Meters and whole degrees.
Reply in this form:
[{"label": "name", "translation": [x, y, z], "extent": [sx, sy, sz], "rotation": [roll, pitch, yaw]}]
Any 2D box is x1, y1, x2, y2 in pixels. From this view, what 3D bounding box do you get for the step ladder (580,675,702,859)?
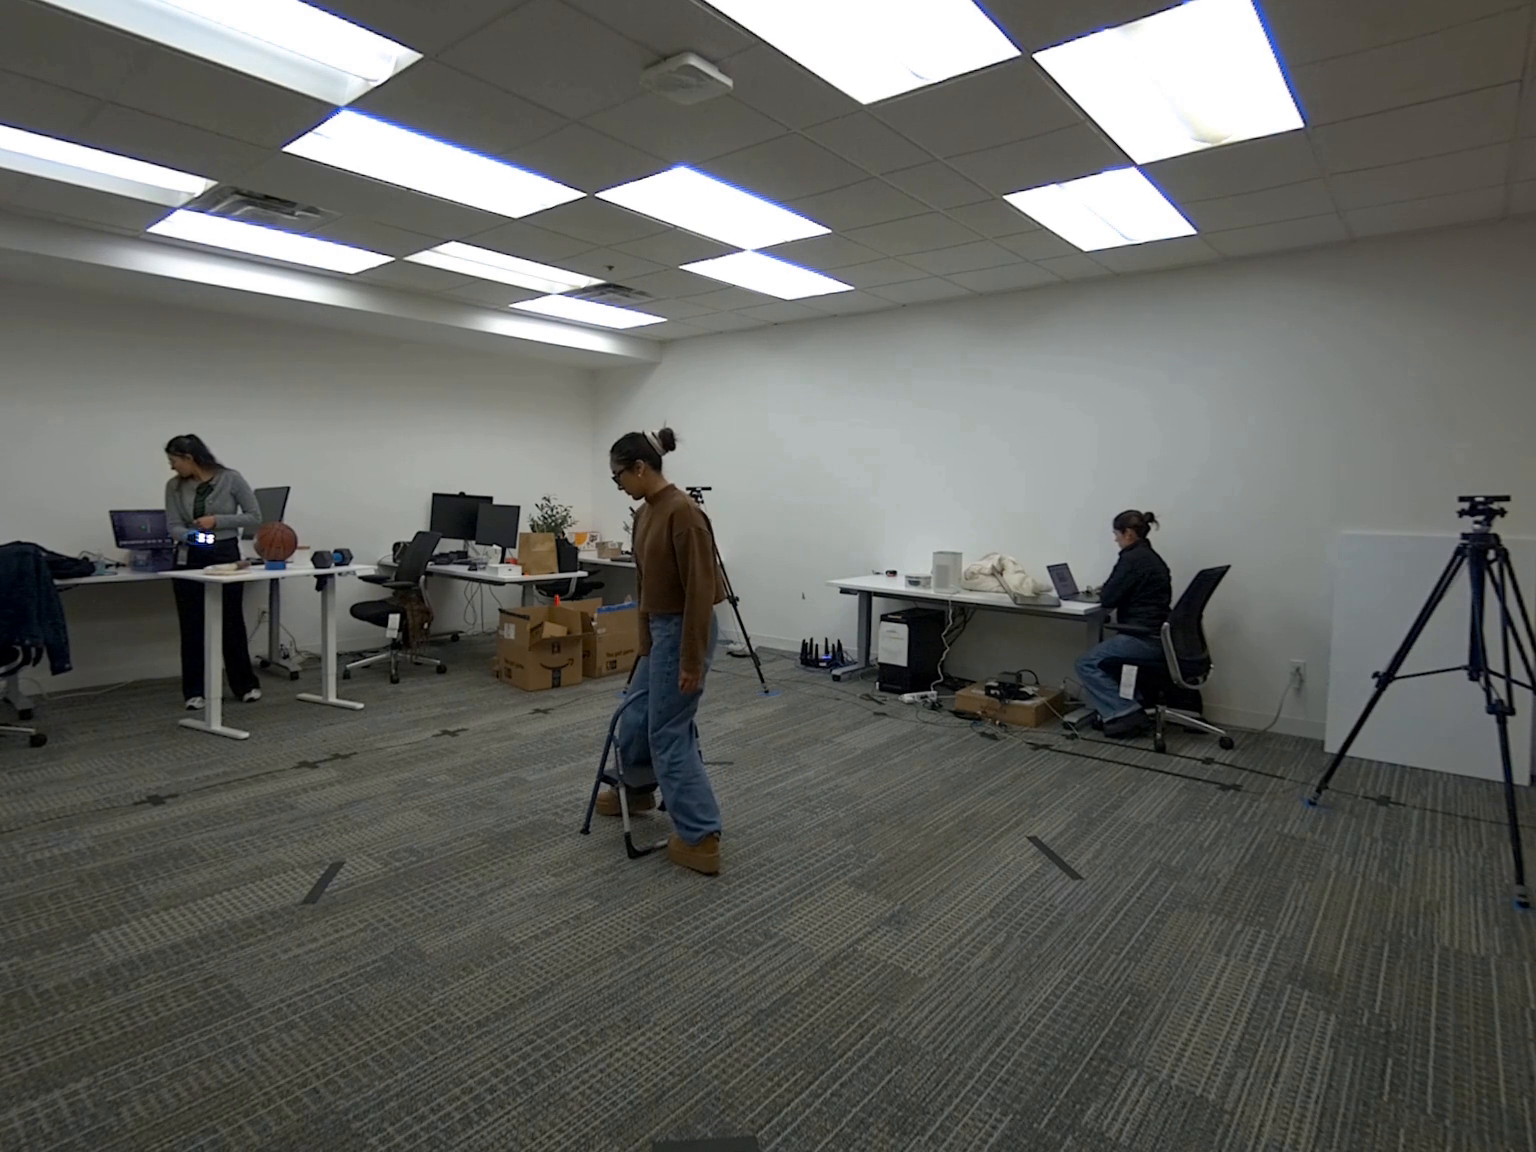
[{"label": "step ladder", "translation": [-0.489, 0.725, 3.409], "extent": [0.417, 0.604, 0.361], "rotation": [-3, 6, -44]}]
